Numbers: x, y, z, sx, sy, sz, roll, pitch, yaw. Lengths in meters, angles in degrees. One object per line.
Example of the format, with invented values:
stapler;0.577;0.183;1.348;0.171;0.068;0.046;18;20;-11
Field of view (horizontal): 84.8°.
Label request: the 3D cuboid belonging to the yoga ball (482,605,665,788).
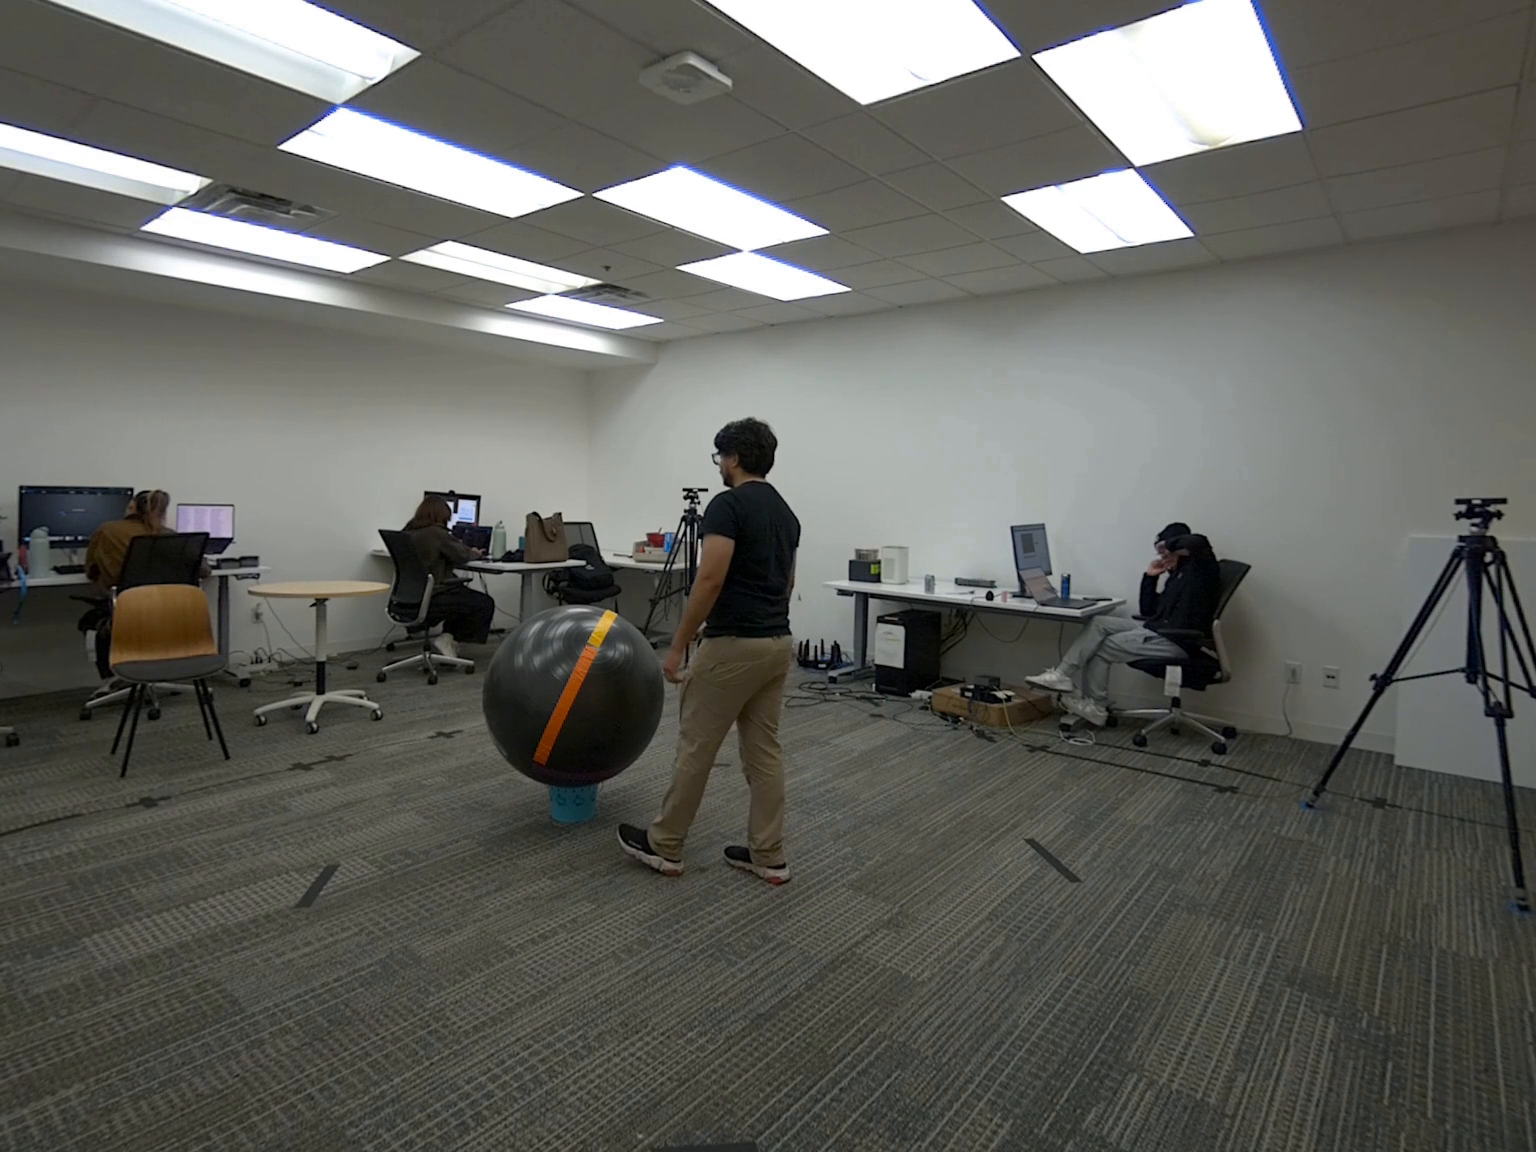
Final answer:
yoga ball;-0.828;0.503;3.600;0.757;0.755;0.762;1;4;-2
